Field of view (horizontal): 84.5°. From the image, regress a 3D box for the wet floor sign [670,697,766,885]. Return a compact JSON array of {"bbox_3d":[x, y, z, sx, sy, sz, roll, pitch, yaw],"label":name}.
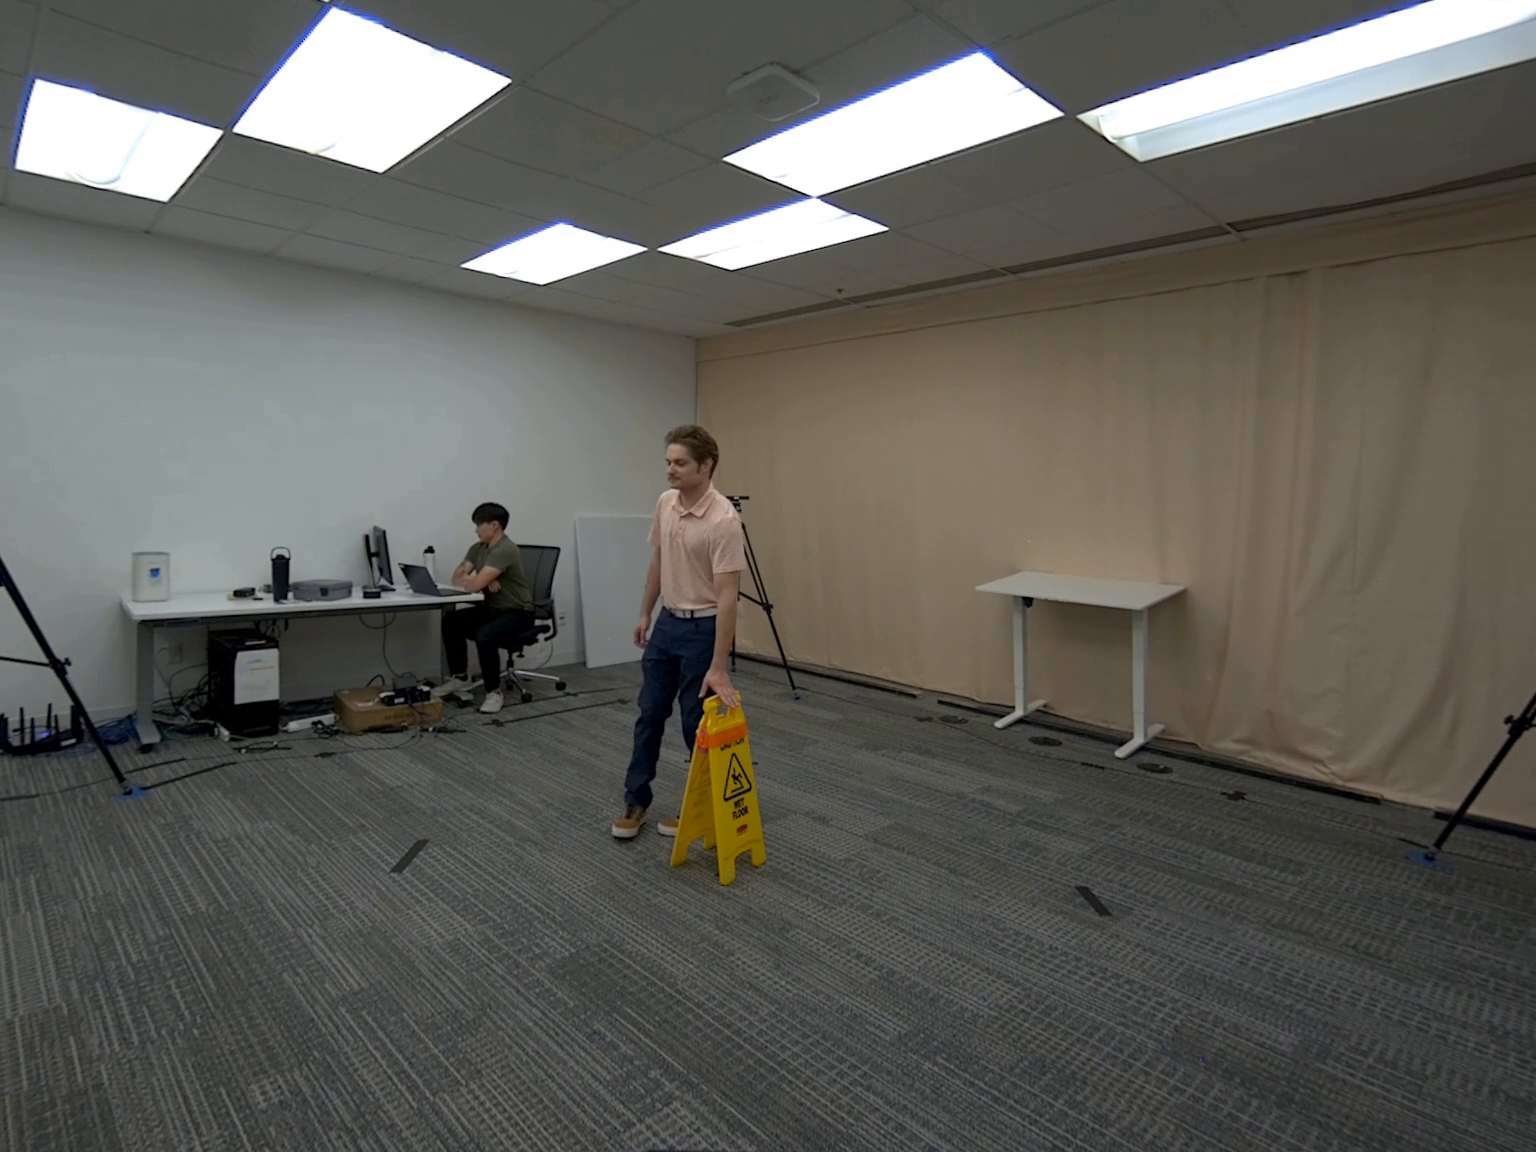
[{"bbox_3d":[-0.185,0.770,3.177,0.296,0.644,0.276,4,5,33],"label":"wet floor sign"}]
